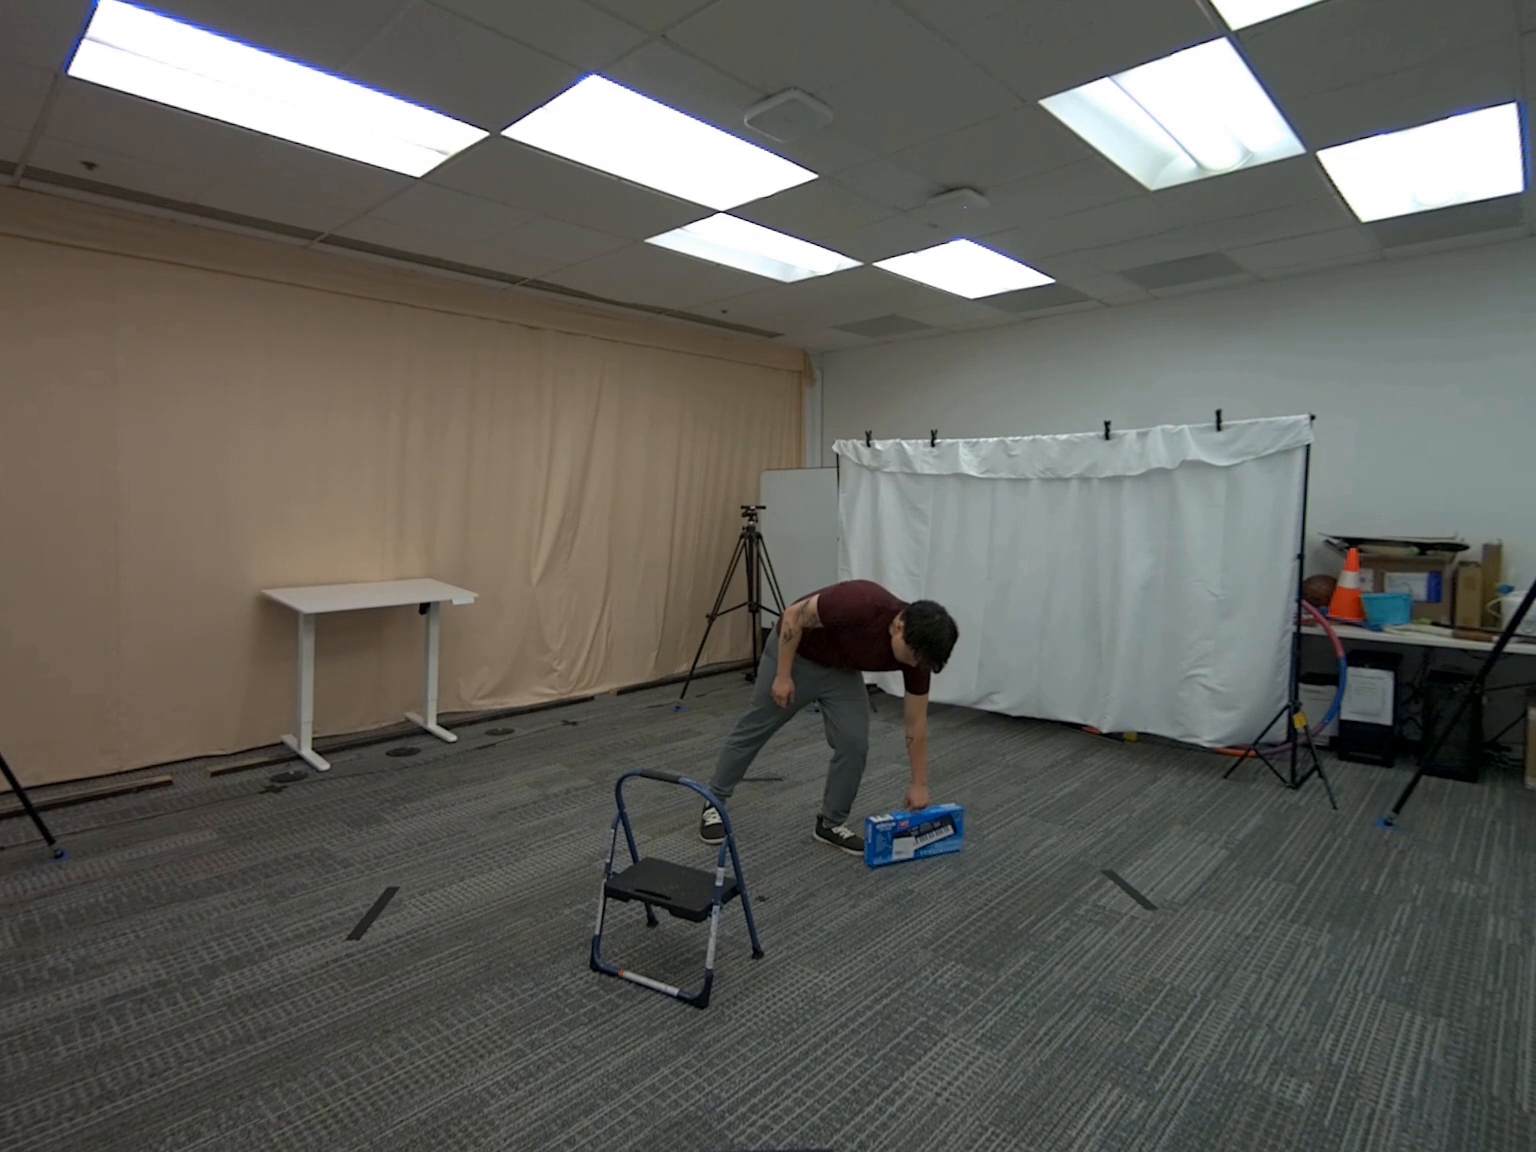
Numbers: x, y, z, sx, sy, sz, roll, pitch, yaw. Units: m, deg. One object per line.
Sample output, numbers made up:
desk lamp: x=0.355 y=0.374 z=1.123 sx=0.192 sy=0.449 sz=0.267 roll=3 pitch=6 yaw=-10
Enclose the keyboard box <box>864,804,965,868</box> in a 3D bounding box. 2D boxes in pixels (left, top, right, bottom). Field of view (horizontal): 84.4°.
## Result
keyboard box: x=0.579 y=1.007 z=3.318 sx=0.426 sy=0.175 sz=0.061 roll=-1 pitch=6 yaw=-26
